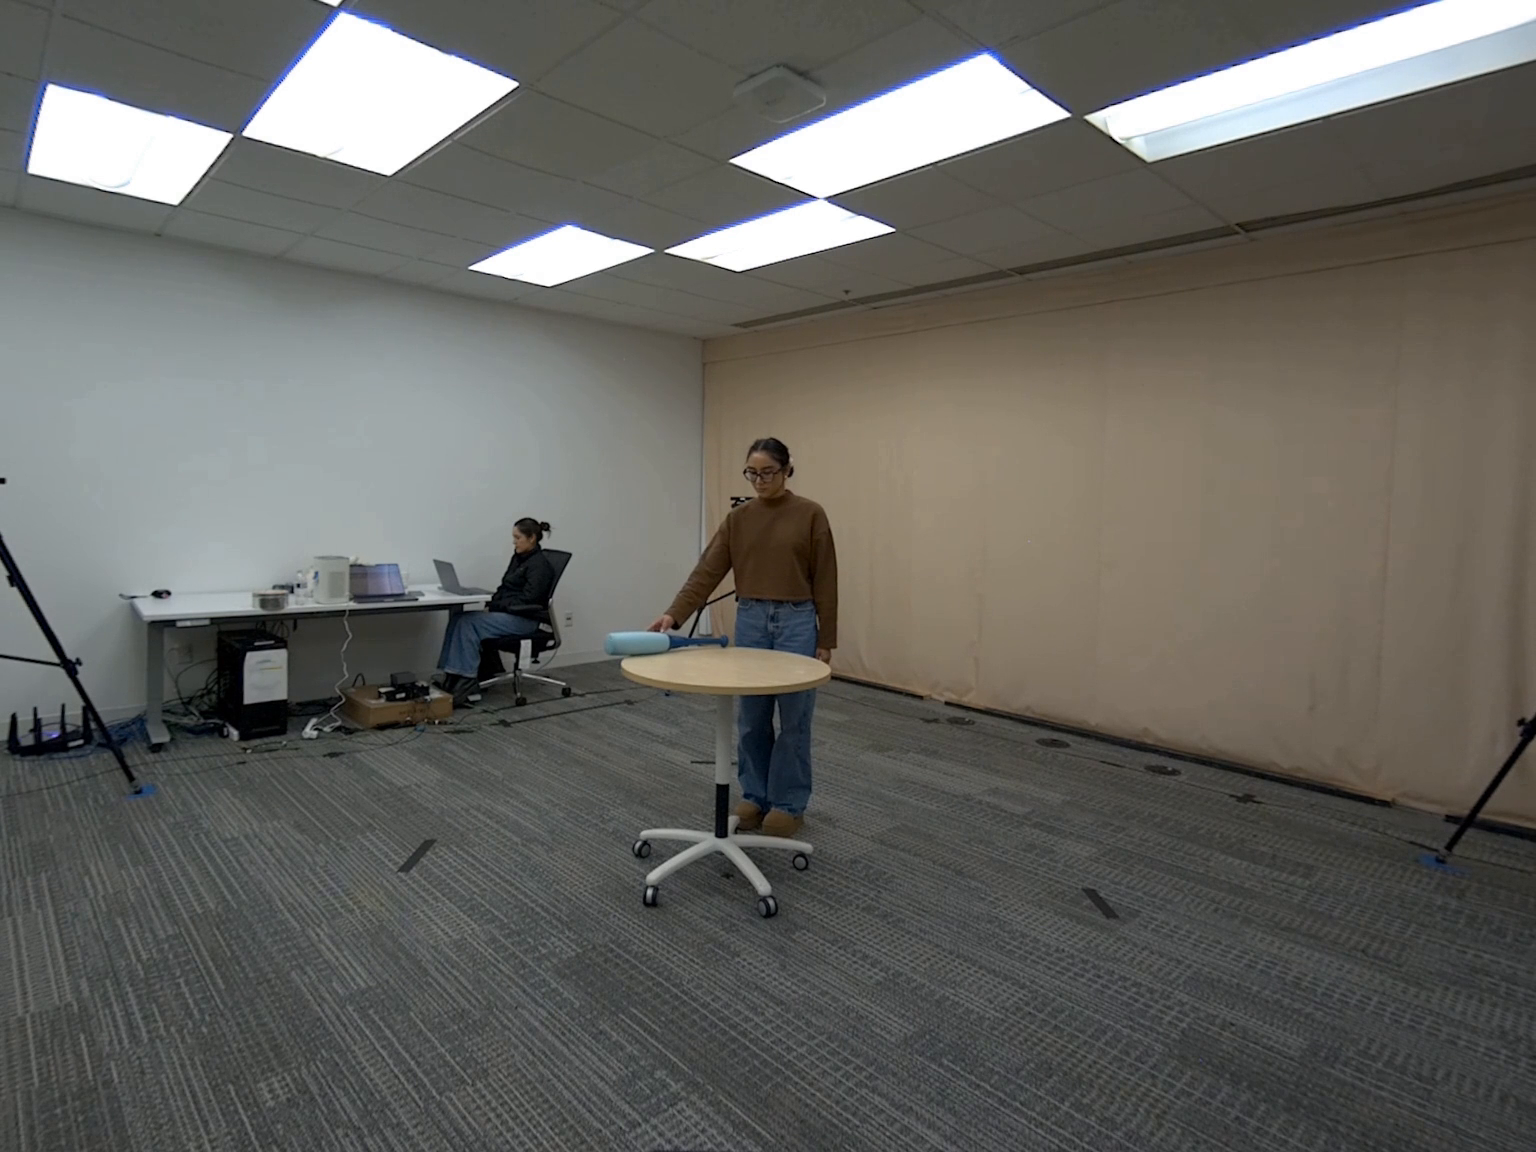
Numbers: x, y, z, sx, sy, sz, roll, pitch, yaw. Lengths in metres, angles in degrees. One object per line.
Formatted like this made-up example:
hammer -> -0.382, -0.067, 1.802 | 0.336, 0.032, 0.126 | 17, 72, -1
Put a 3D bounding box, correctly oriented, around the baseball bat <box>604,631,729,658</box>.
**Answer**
baseball bat -> -0.394, 0.269, 3.298 | 0.530, 0.089, 0.091 | 2, 3, -35
